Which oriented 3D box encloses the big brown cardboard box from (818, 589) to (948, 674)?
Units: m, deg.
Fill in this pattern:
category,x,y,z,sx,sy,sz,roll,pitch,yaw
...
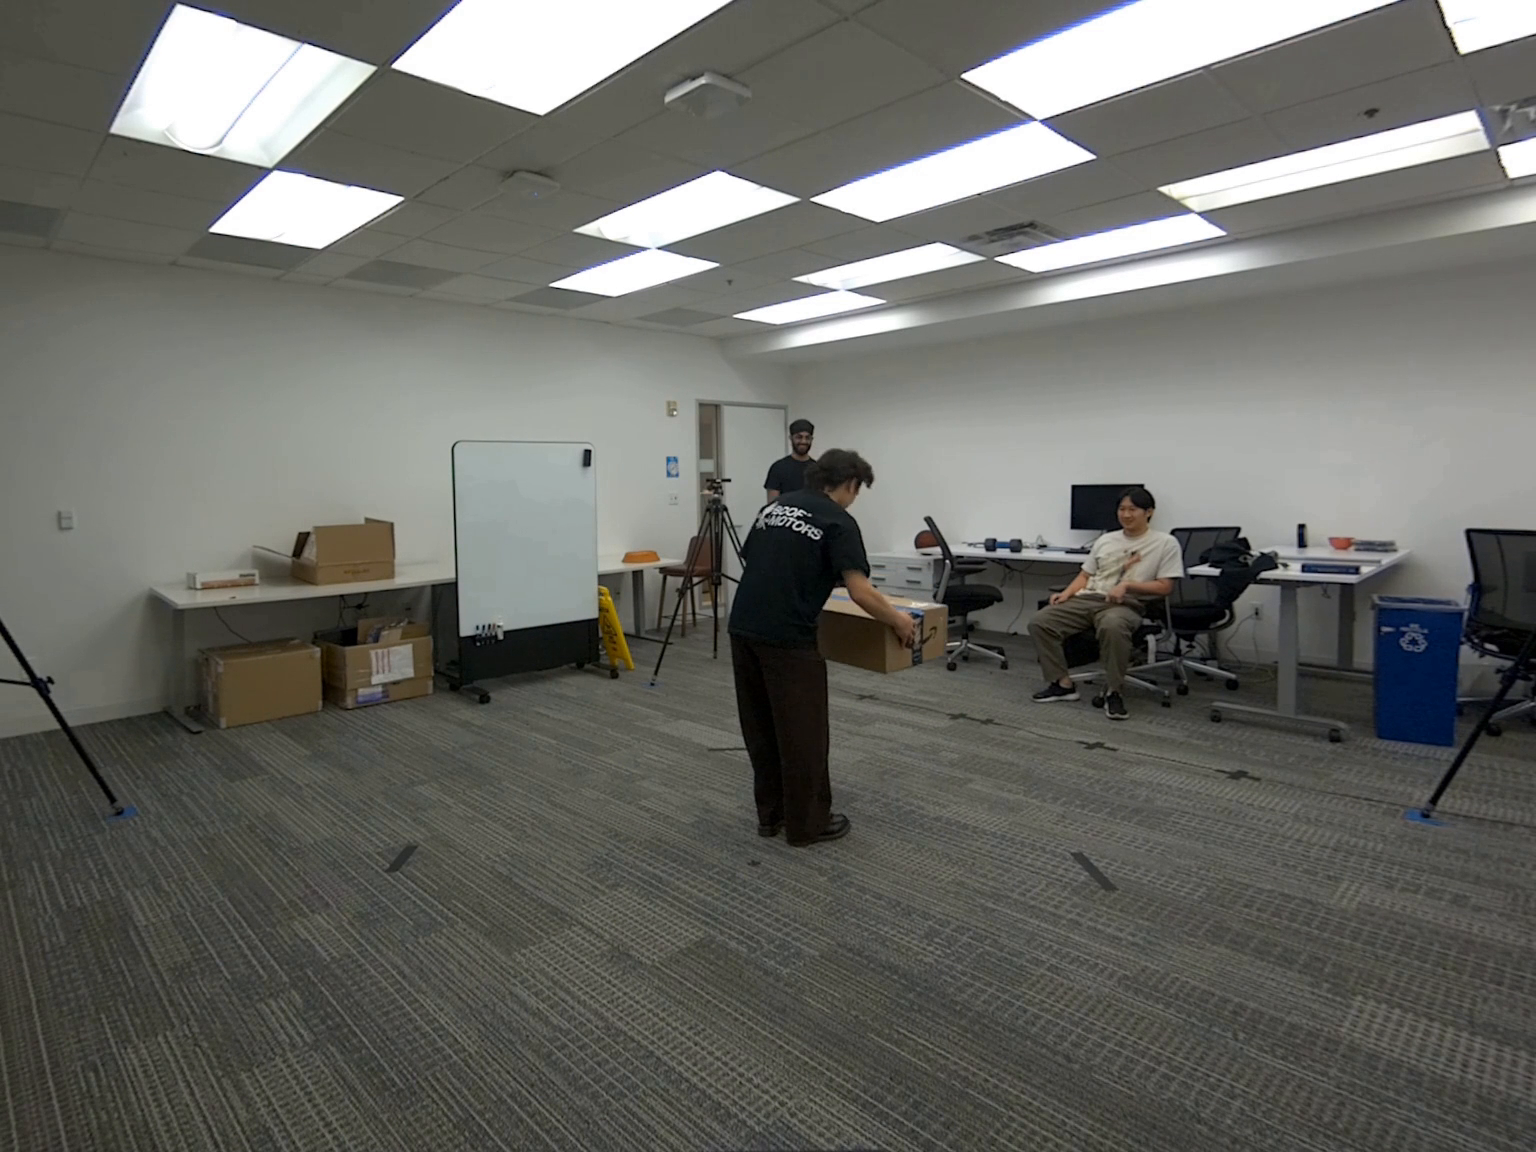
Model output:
category,x,y,z,sx,sy,sz,roll,pitch,yaw
big brown cardboard box,0.392,0.227,3.592,0.407,0.231,0.608,-9,12,-44
